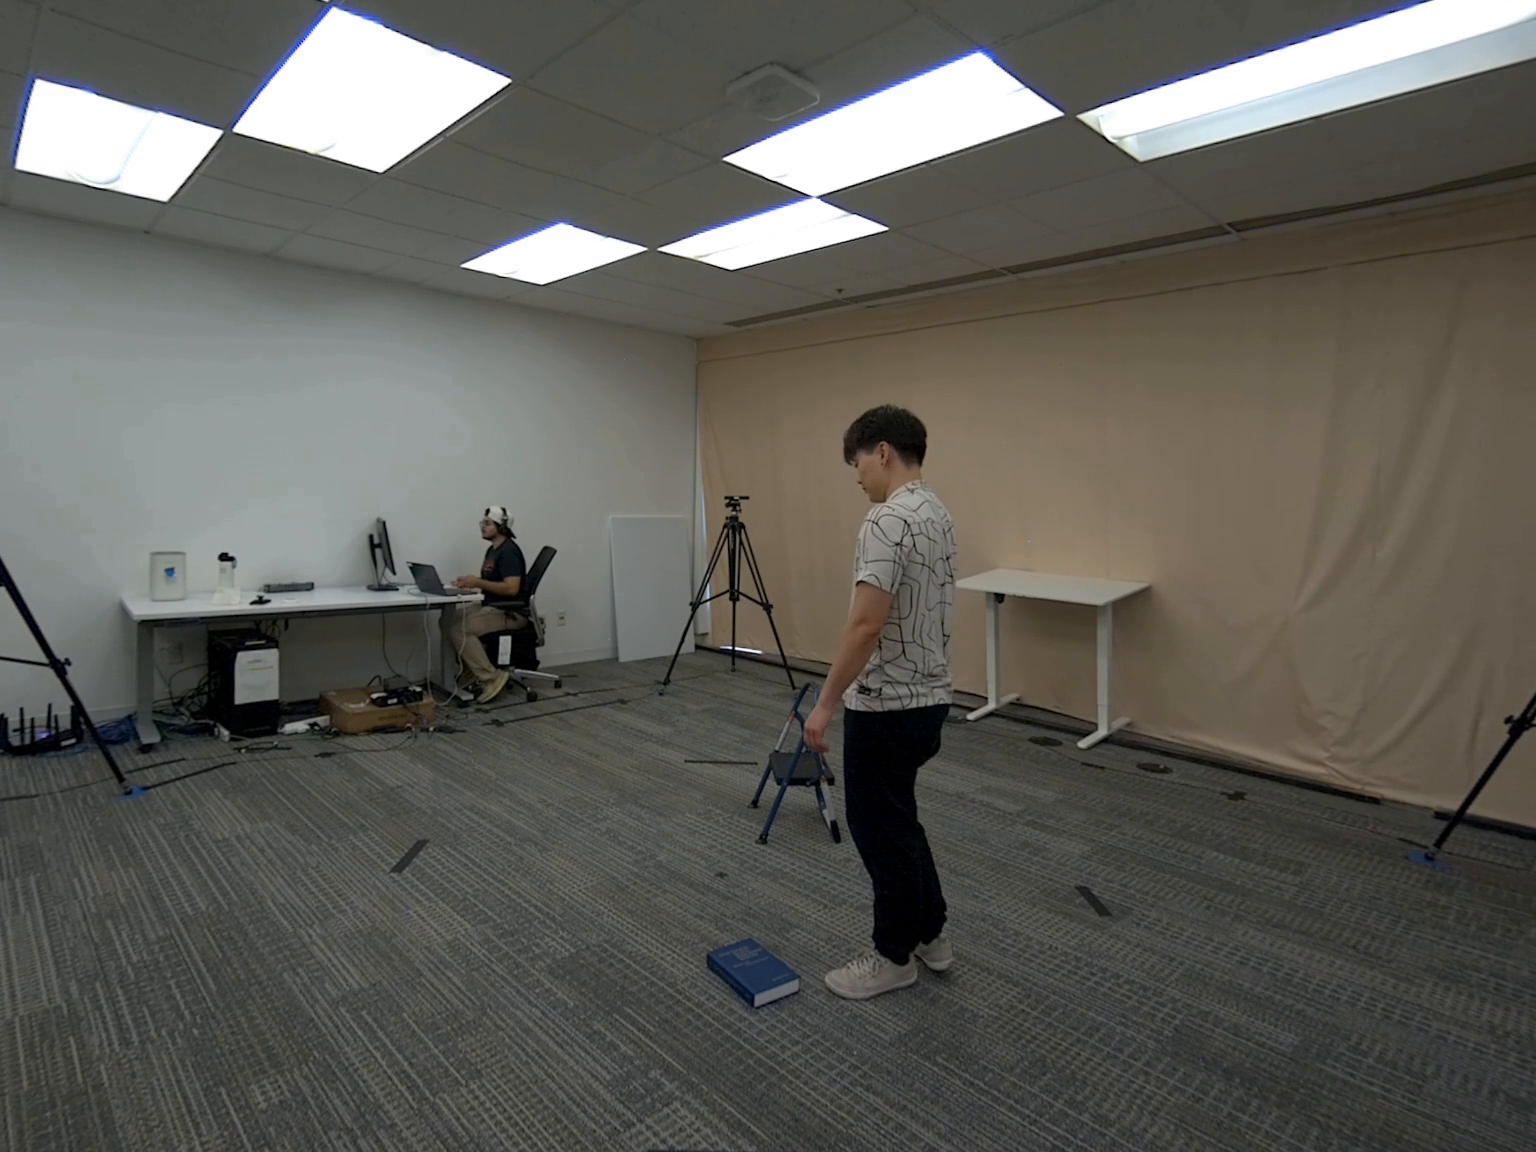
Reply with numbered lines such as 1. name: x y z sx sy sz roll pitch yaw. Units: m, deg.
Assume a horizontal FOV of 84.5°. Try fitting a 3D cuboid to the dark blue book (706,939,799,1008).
1. dark blue book: -0.043 1.143 2.435 0.160 0.045 0.251 -3 6 -36
